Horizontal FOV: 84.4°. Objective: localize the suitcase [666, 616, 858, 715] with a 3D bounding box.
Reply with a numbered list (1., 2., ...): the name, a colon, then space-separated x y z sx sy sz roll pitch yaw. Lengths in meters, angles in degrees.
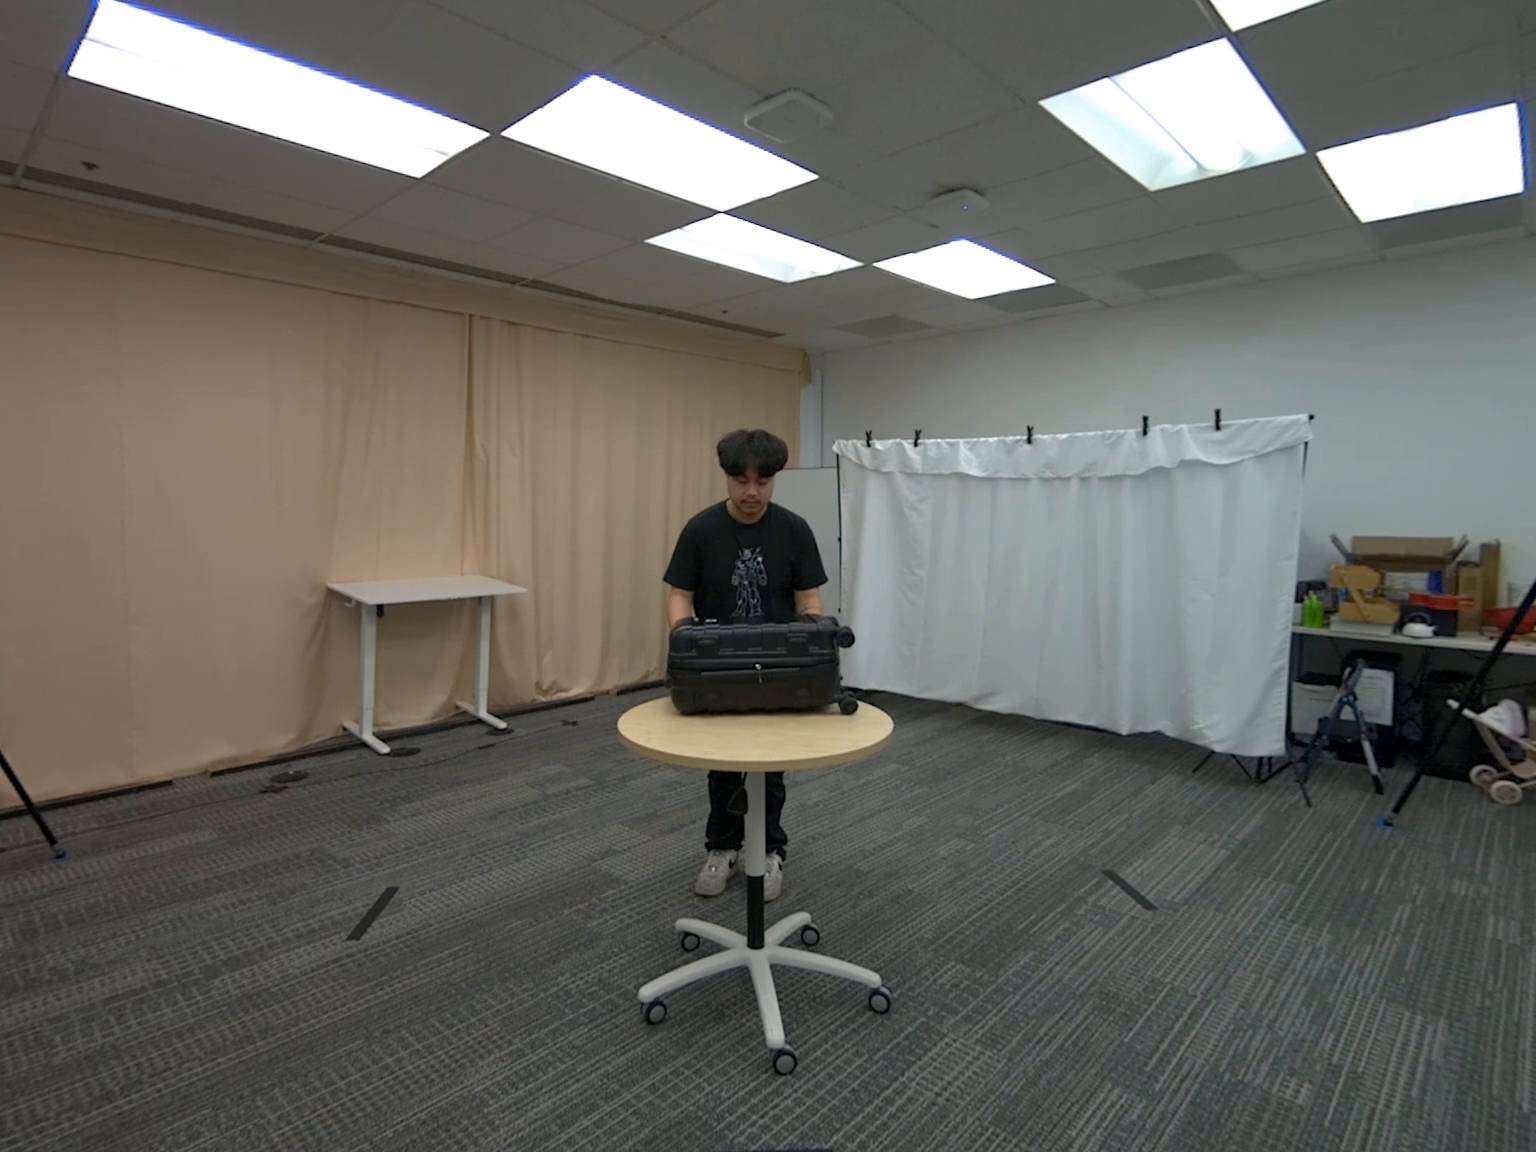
1. suitcase: -0.034 0.265 2.544 0.549 0.248 0.376 -2 4 -1
